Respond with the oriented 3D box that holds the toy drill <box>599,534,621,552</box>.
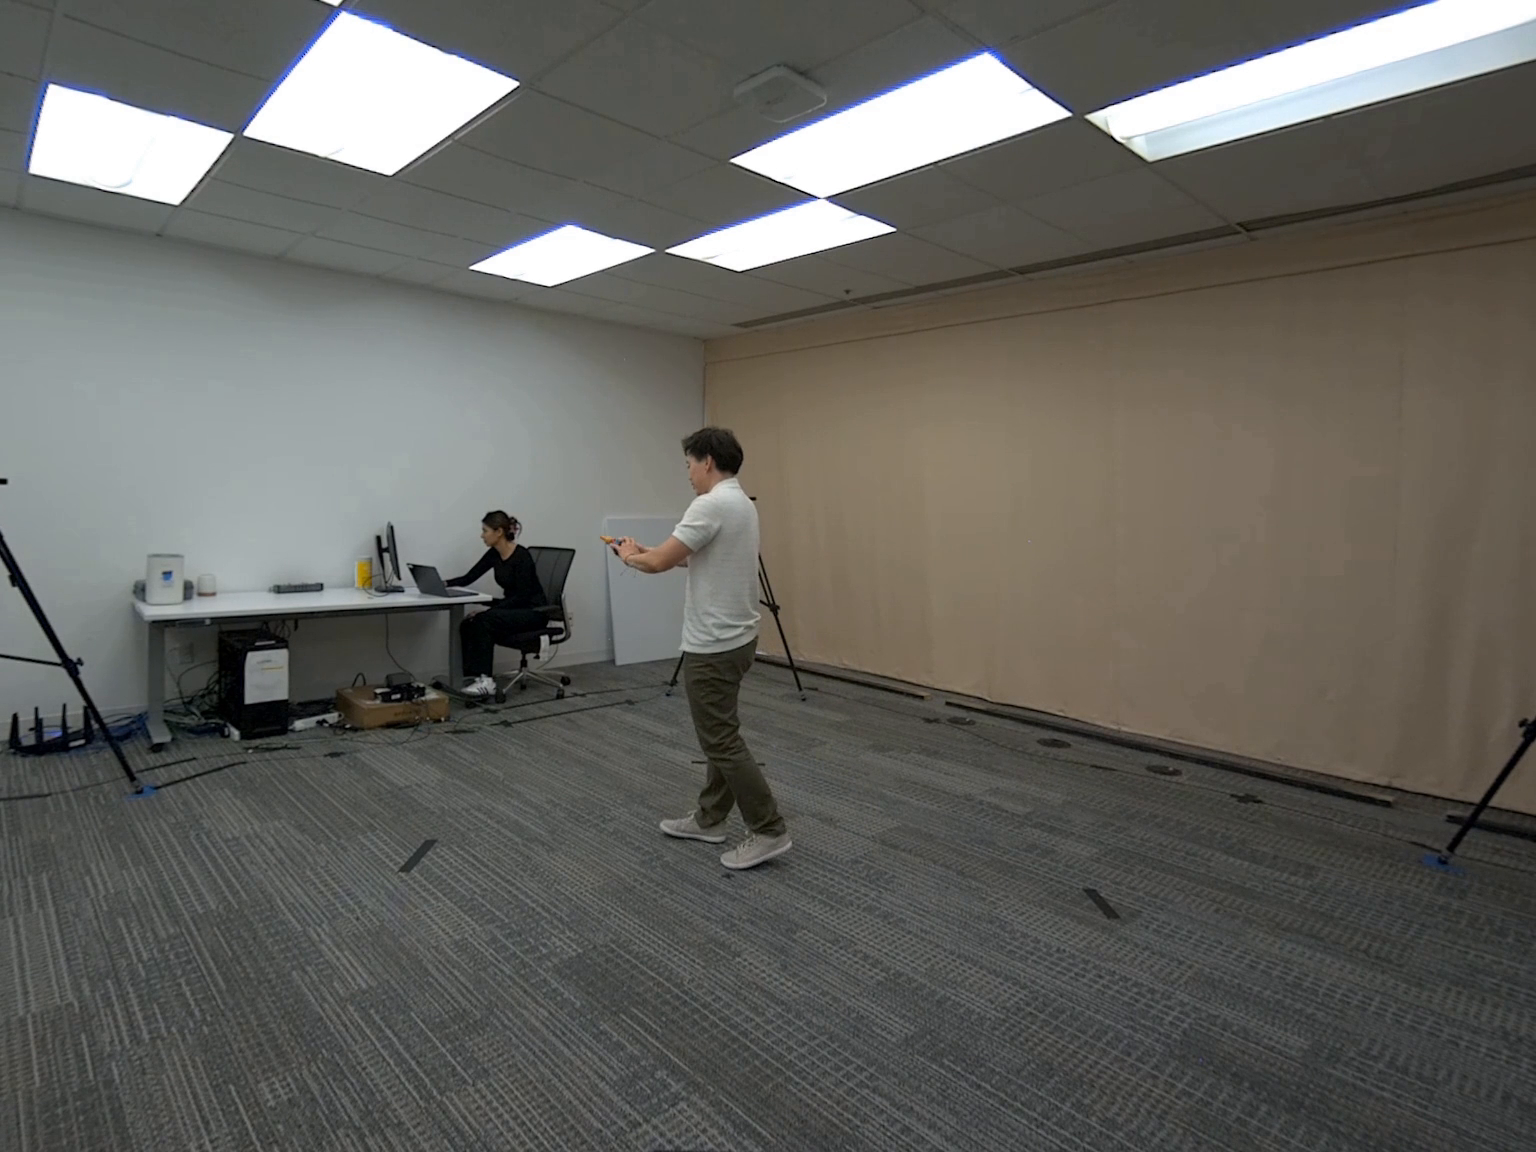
[{"bbox_3d":[-0.628,-0.126,3.485,0.169,0.061,0.146,27,2,-4],"label":"toy drill"}]
